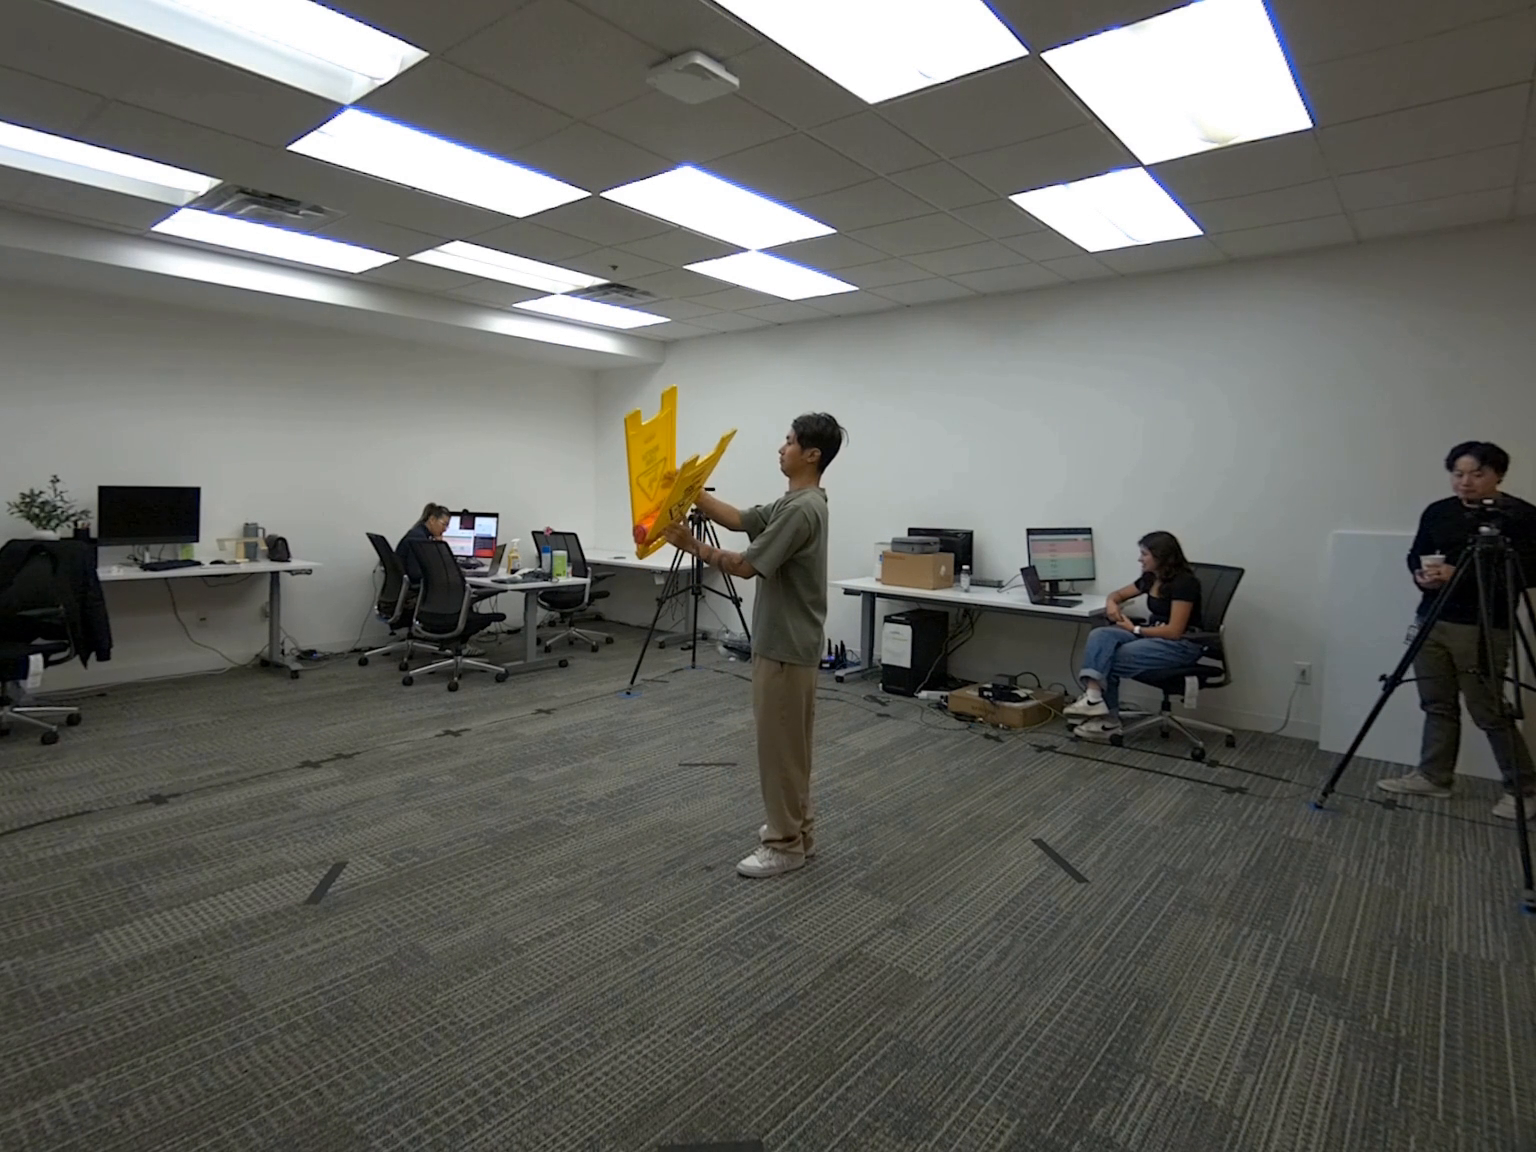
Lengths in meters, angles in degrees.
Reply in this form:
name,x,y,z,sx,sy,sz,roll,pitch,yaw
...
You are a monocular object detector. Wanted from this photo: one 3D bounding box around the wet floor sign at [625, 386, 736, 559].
name,x,y,z,sx,sy,sz,roll,pitch,yaw
wet floor sign,-0.377,-0.316,3.102,0.297,0.634,0.280,36,49,17
